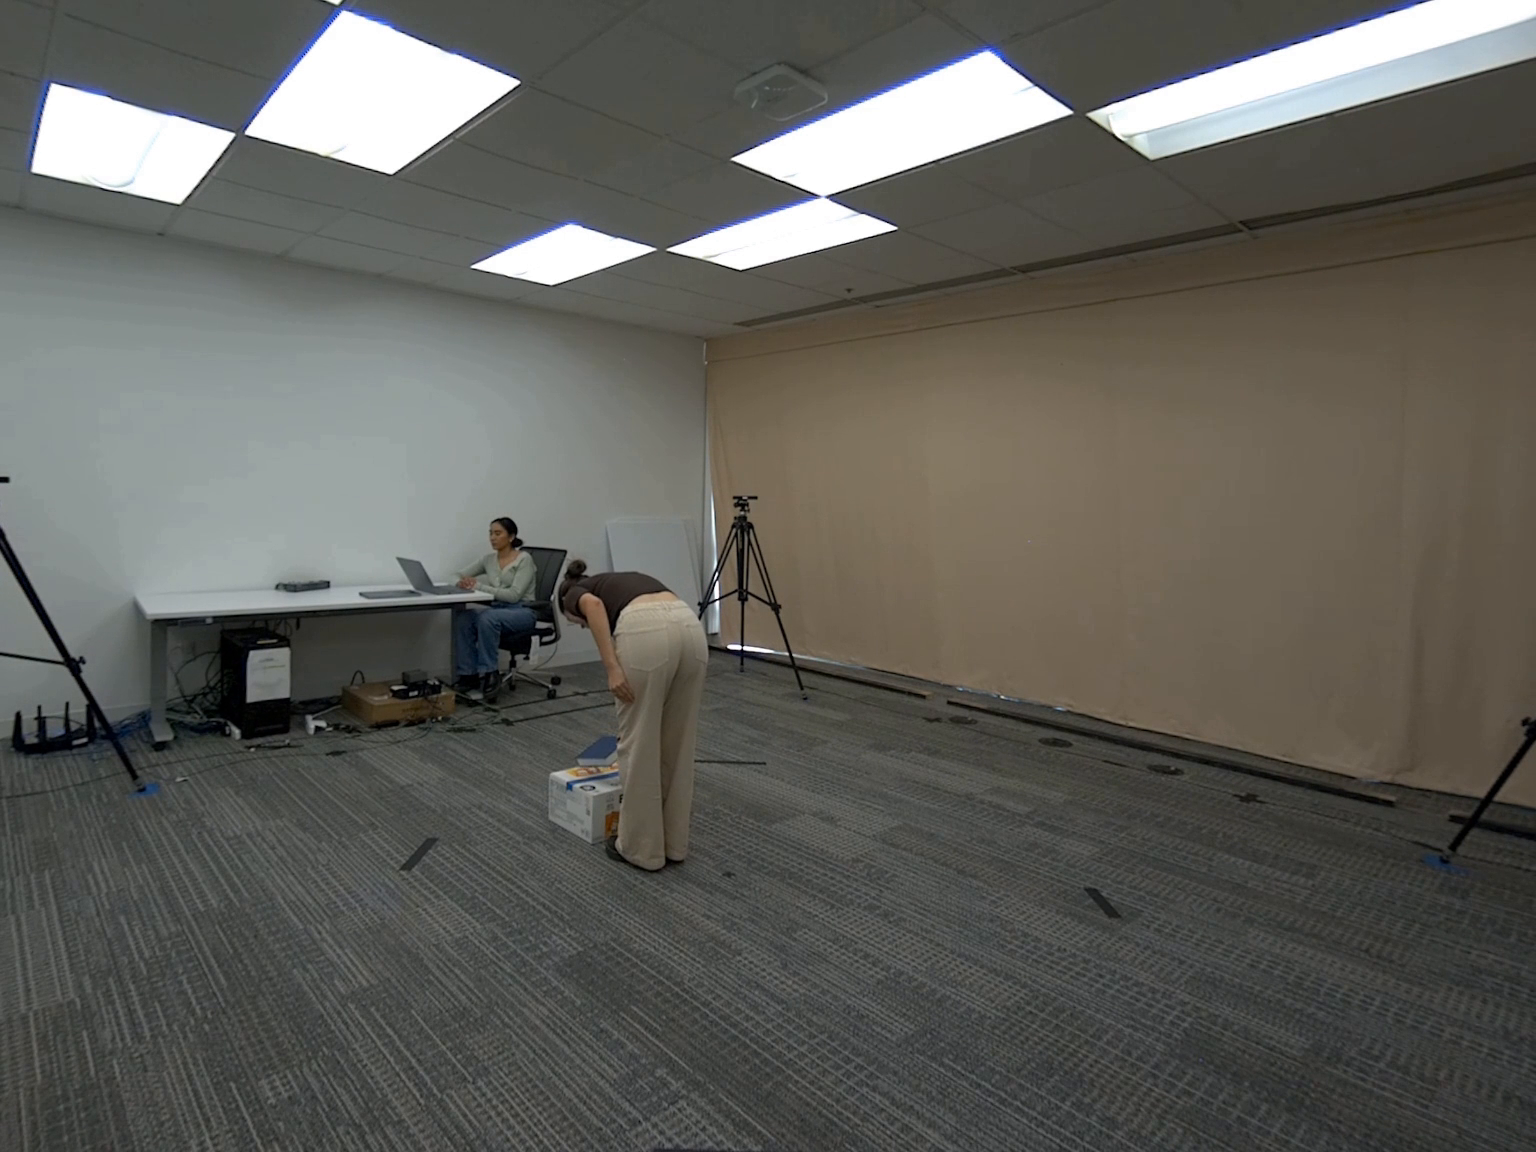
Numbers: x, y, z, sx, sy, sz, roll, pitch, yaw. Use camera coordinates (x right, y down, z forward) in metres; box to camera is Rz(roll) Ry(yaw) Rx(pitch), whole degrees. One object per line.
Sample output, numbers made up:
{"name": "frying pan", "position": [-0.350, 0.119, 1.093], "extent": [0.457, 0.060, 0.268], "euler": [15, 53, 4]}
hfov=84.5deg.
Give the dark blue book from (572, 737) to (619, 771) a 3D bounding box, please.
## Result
{"name": "dark blue book", "position": [-0.680, 0.733, 3.503], "extent": [0.249, 0.045, 0.162], "euler": [-13, 17, 49]}
